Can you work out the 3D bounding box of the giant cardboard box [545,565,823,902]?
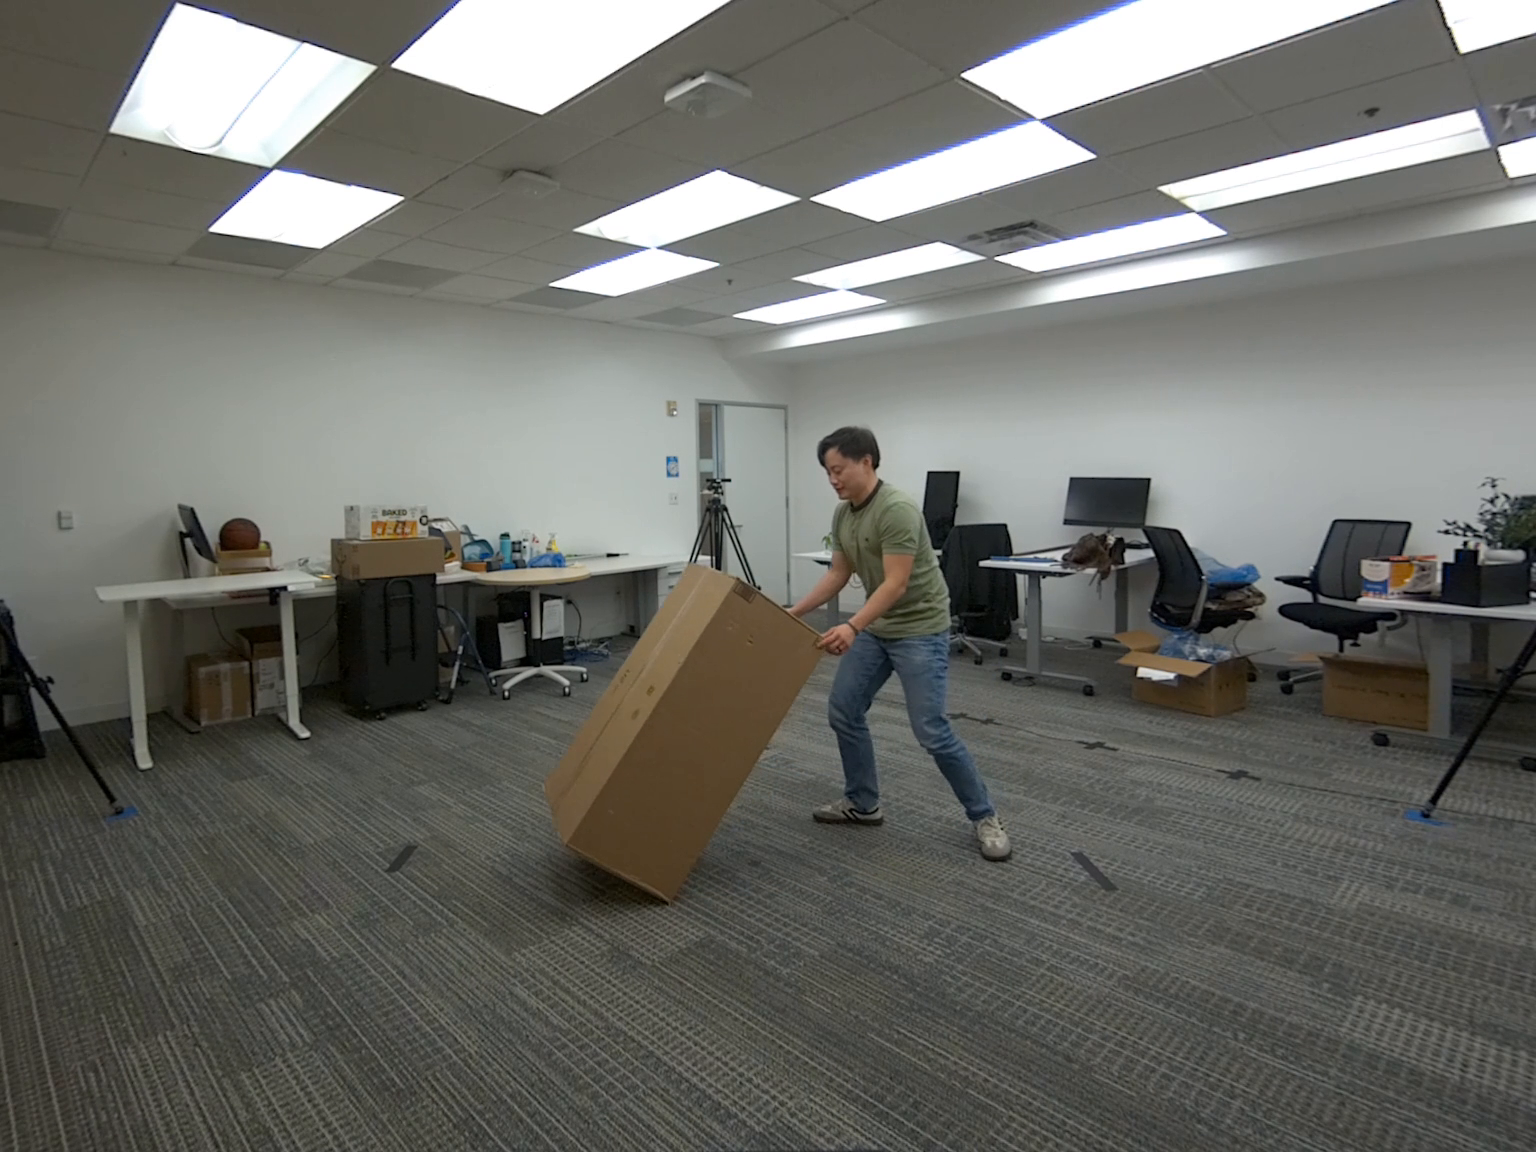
[{"bbox_3d":[-0.313,0.516,3.091,0.416,1.028,0.590,35,-9,-20],"label":"giant cardboard box"}]
